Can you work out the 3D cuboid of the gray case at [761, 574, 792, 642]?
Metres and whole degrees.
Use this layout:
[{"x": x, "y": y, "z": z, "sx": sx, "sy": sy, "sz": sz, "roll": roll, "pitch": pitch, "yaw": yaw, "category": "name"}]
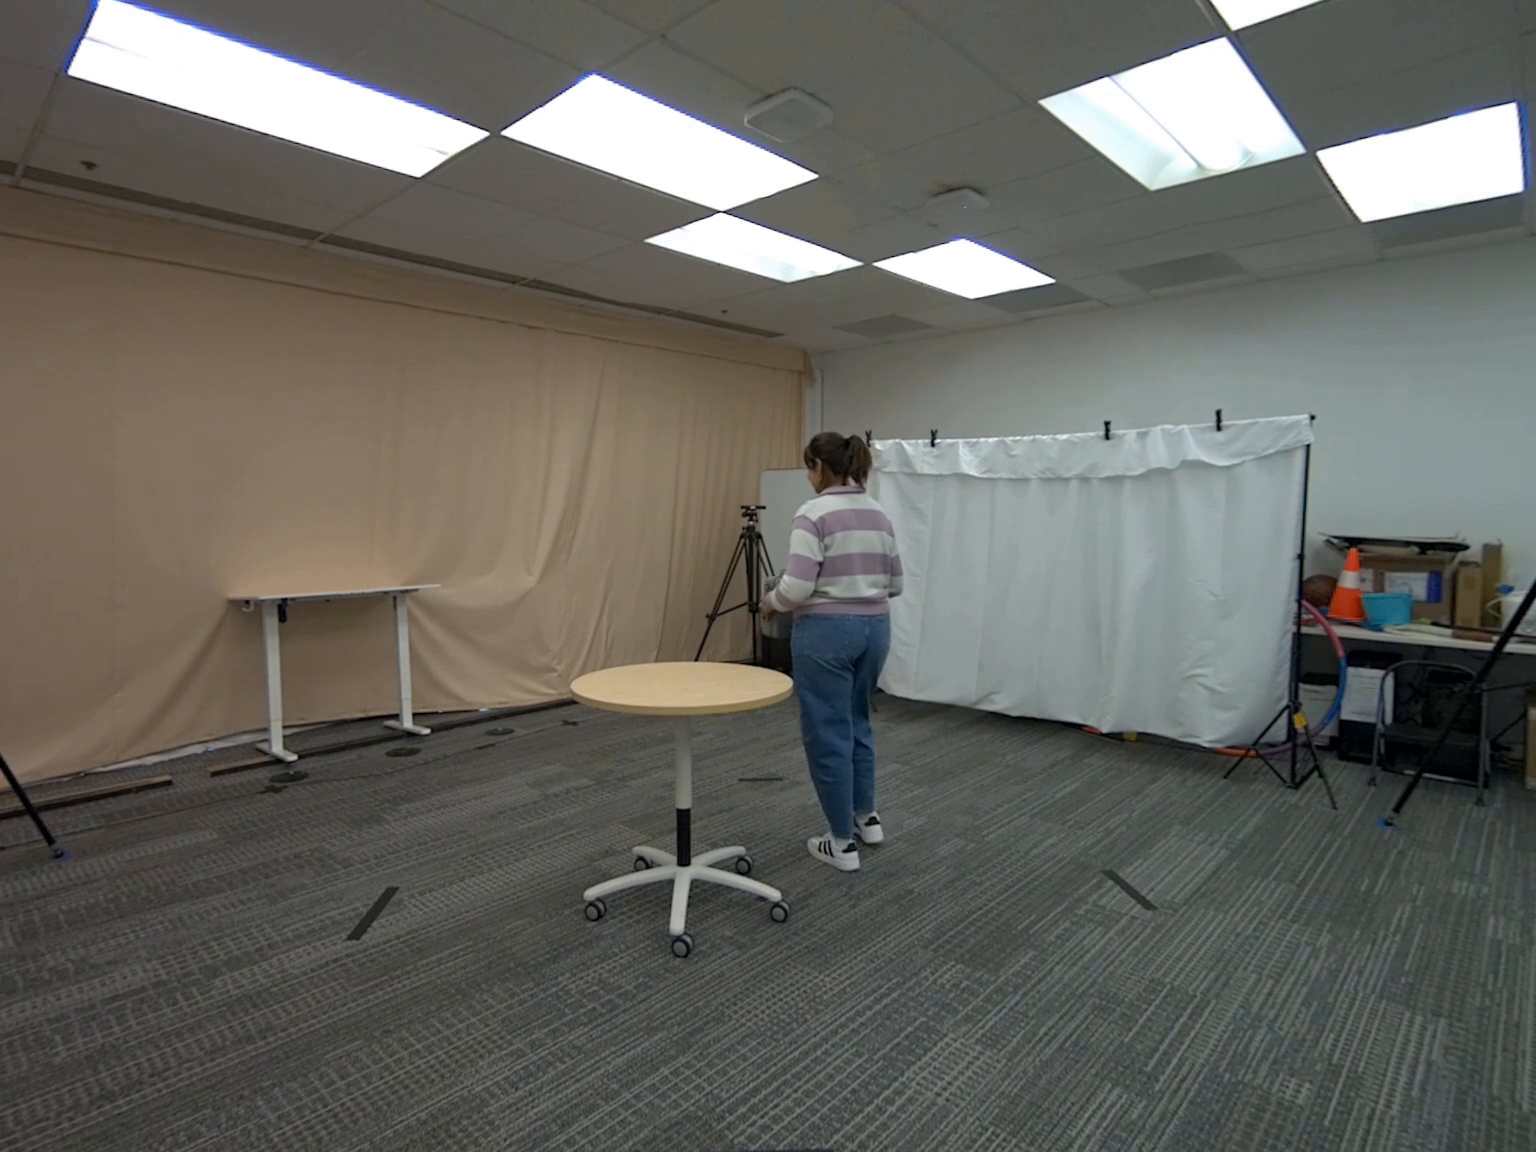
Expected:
[{"x": 0.108, "y": 0.125, "z": 3.487, "sx": 0.249, "sy": 0.260, "sz": 0.108, "roll": 1, "pitch": 2, "yaw": -38, "category": "gray case"}]
